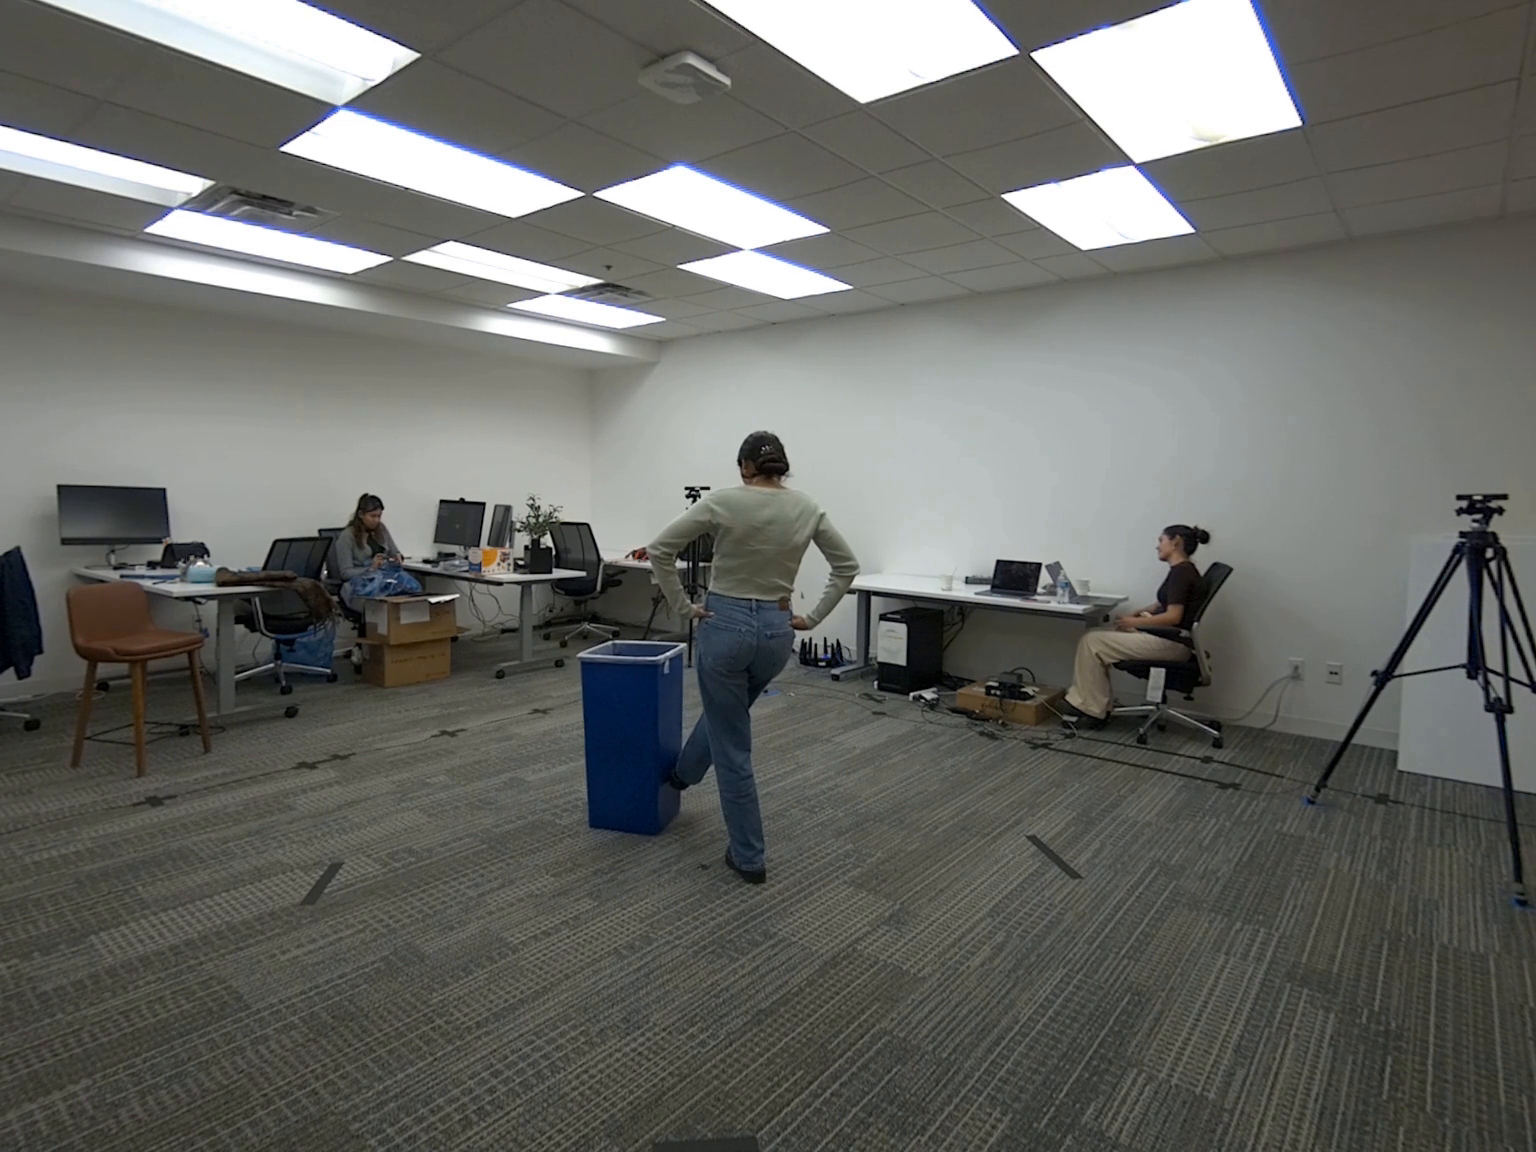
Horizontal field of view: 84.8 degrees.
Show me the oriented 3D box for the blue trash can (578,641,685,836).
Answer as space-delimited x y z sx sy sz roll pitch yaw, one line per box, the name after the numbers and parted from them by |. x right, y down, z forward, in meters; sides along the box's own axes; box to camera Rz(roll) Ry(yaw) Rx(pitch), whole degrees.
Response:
-0.568 0.656 3.561 0.384 0.711 0.369 0 4 14 | blue trash can
